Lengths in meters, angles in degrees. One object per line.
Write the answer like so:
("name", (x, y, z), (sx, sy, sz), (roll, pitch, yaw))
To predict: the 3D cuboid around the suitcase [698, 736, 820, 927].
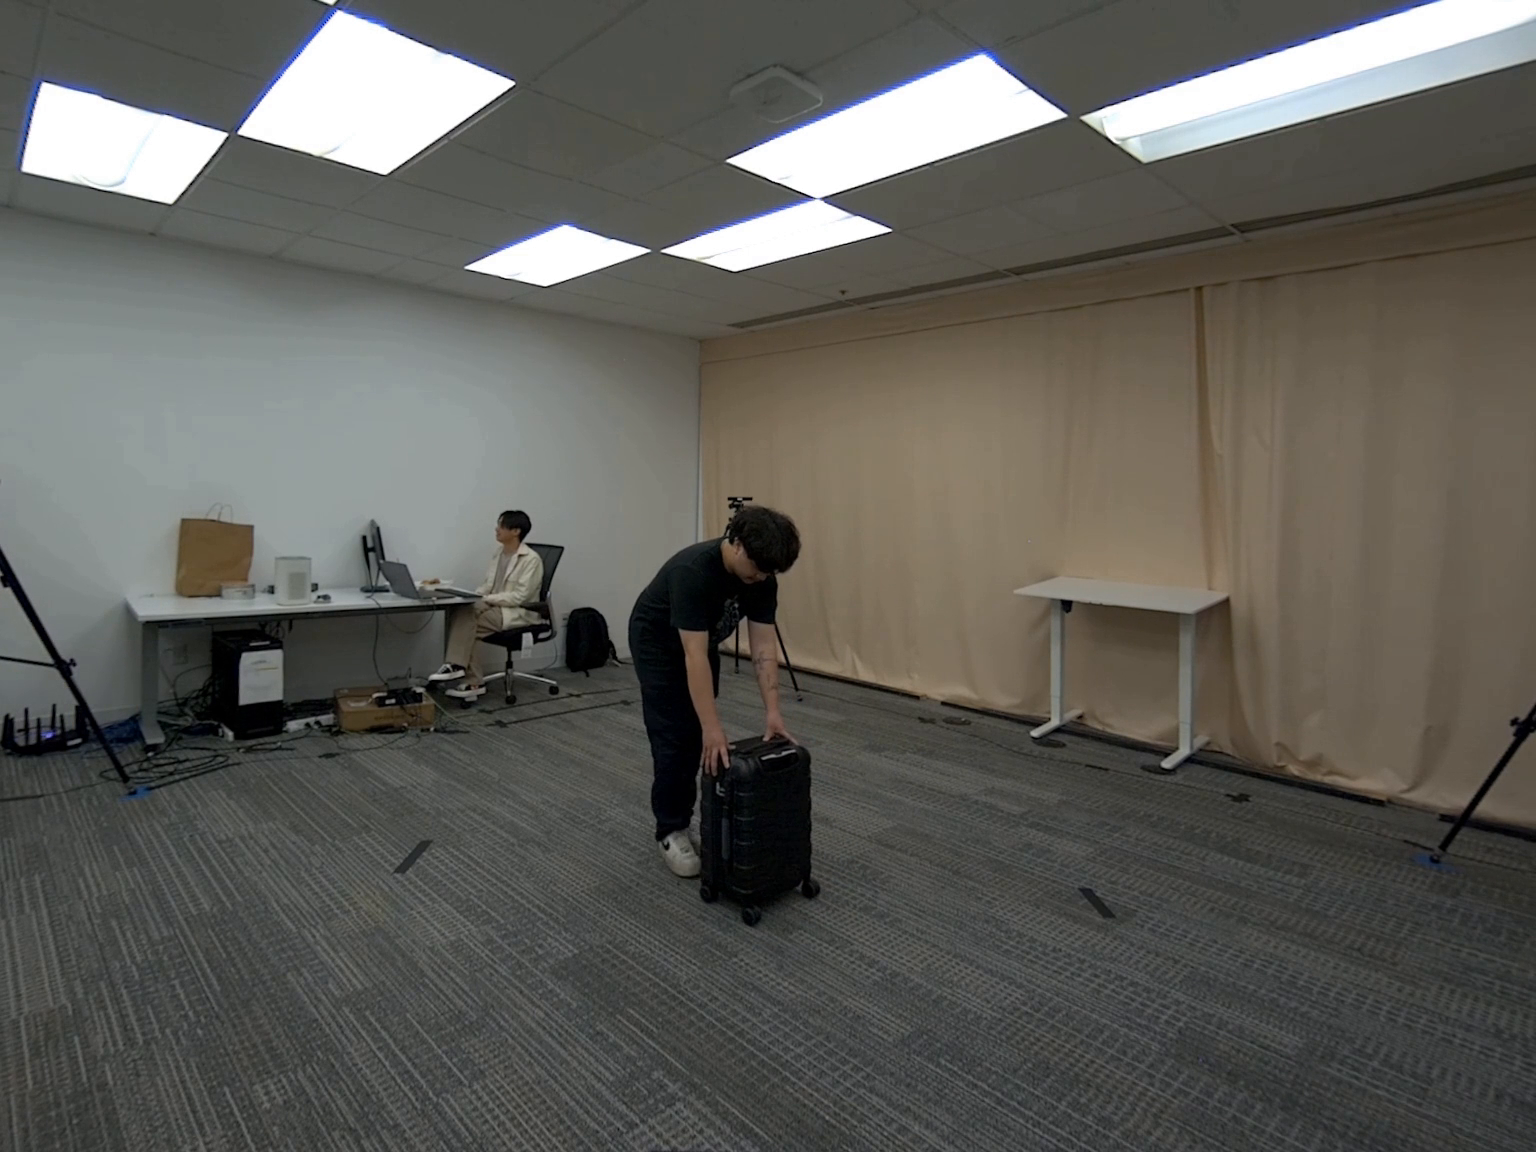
("suitcase", (-0.046, 0.855, 2.933), (0.367, 0.549, 0.254), (-3, 2, -42))
